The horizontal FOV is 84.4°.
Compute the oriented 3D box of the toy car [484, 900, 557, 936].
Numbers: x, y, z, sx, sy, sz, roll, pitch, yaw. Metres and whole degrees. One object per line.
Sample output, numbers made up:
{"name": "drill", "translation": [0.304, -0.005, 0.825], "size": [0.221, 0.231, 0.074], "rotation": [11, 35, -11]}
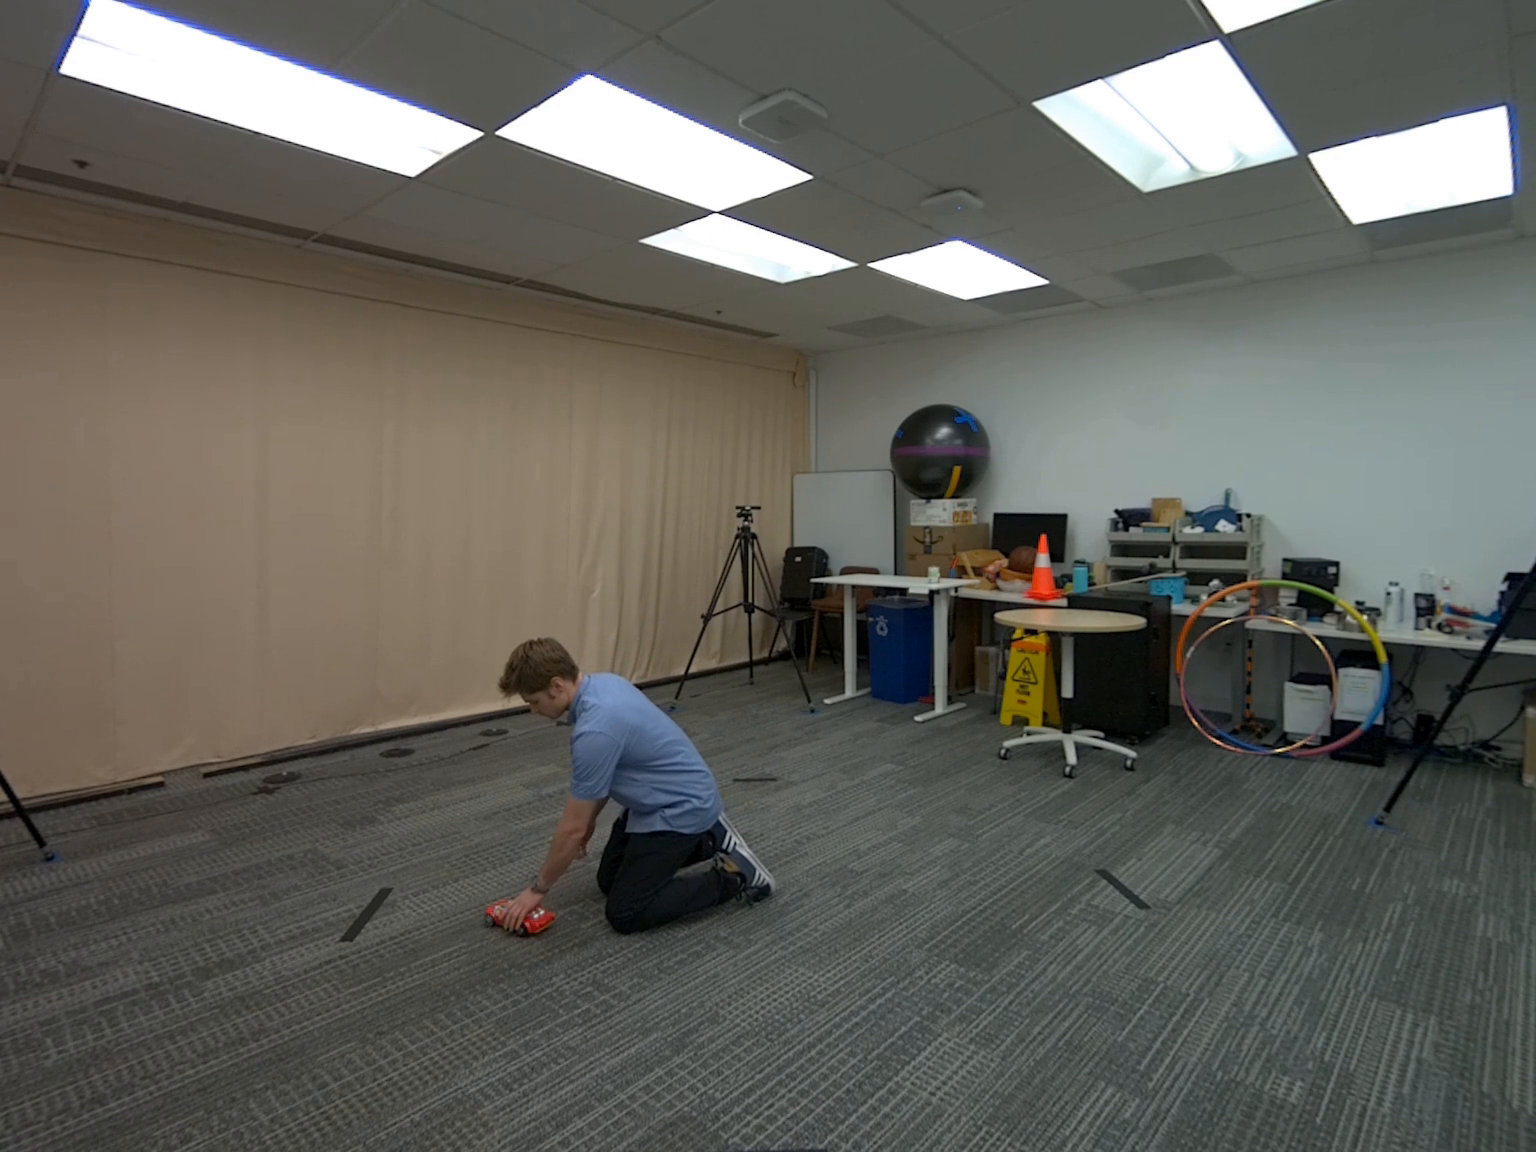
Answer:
{"name": "toy car", "translation": [-0.821, 1.142, 2.795], "size": [0.261, 0.083, 0.127], "rotation": [-10, 2, 29]}
